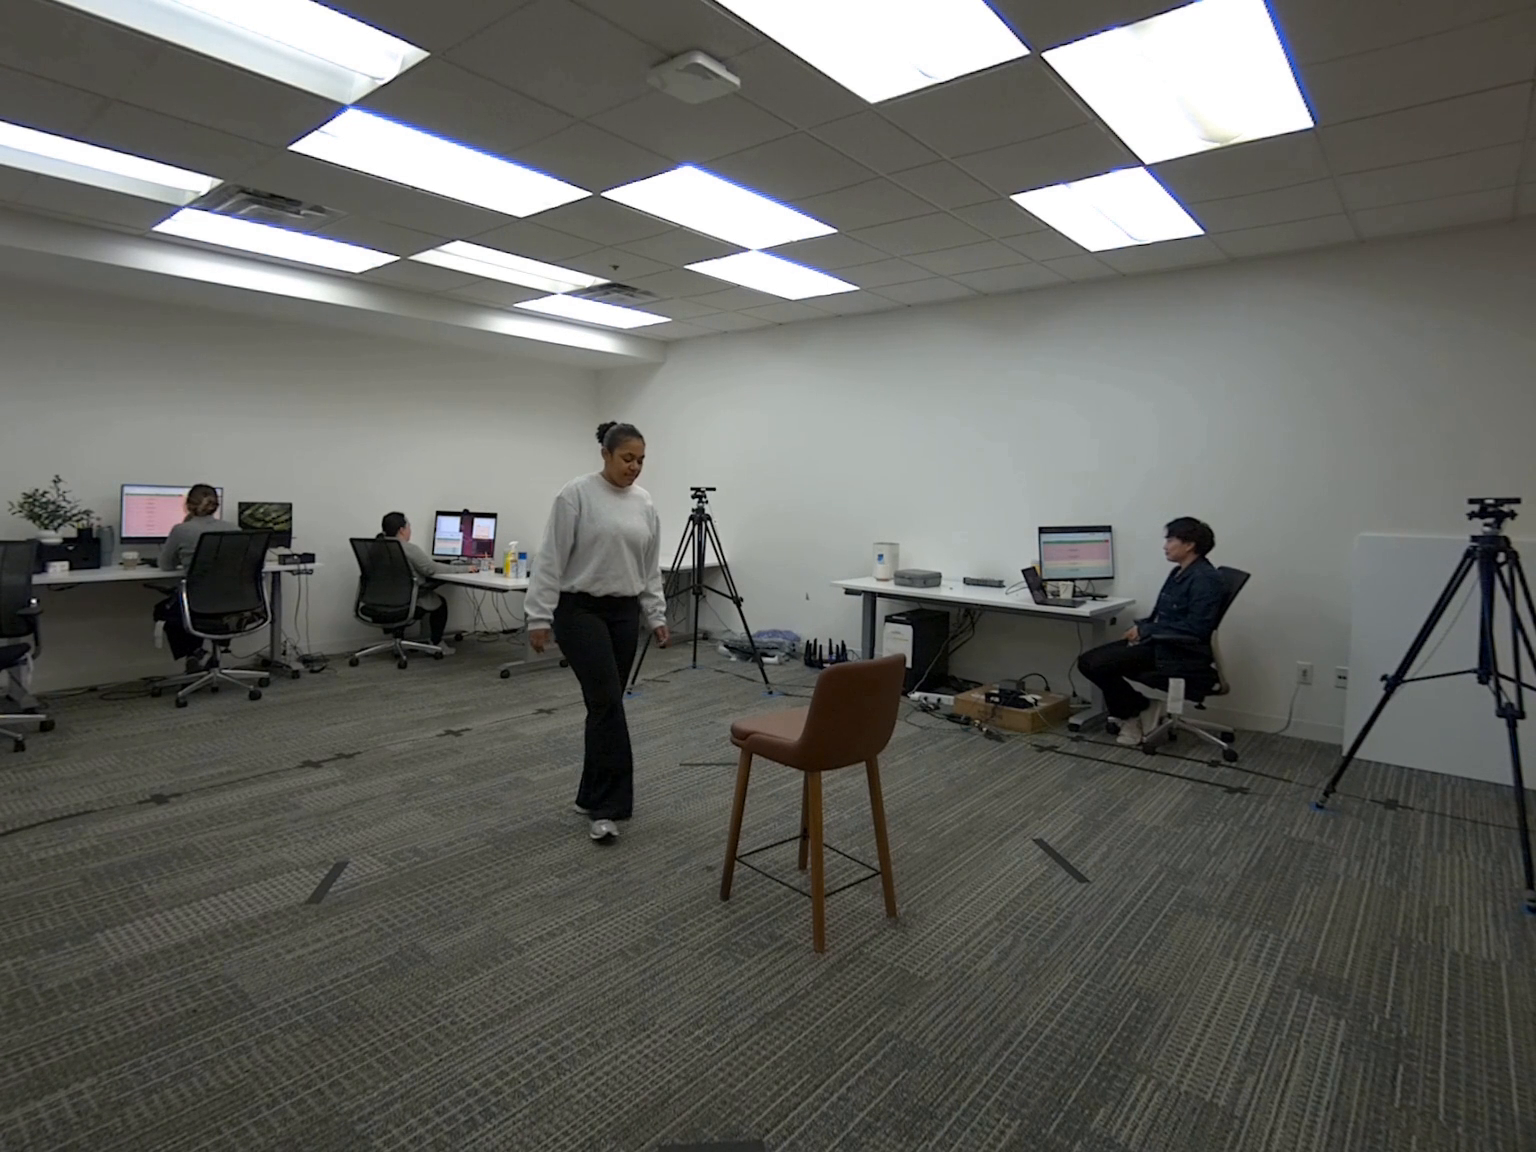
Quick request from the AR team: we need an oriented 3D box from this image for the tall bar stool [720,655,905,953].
[{"bbox_3d":[0.147,0.668,2.814,0.442,0.886,0.484,-1,6,-42],"label":"tall bar stool"}]
